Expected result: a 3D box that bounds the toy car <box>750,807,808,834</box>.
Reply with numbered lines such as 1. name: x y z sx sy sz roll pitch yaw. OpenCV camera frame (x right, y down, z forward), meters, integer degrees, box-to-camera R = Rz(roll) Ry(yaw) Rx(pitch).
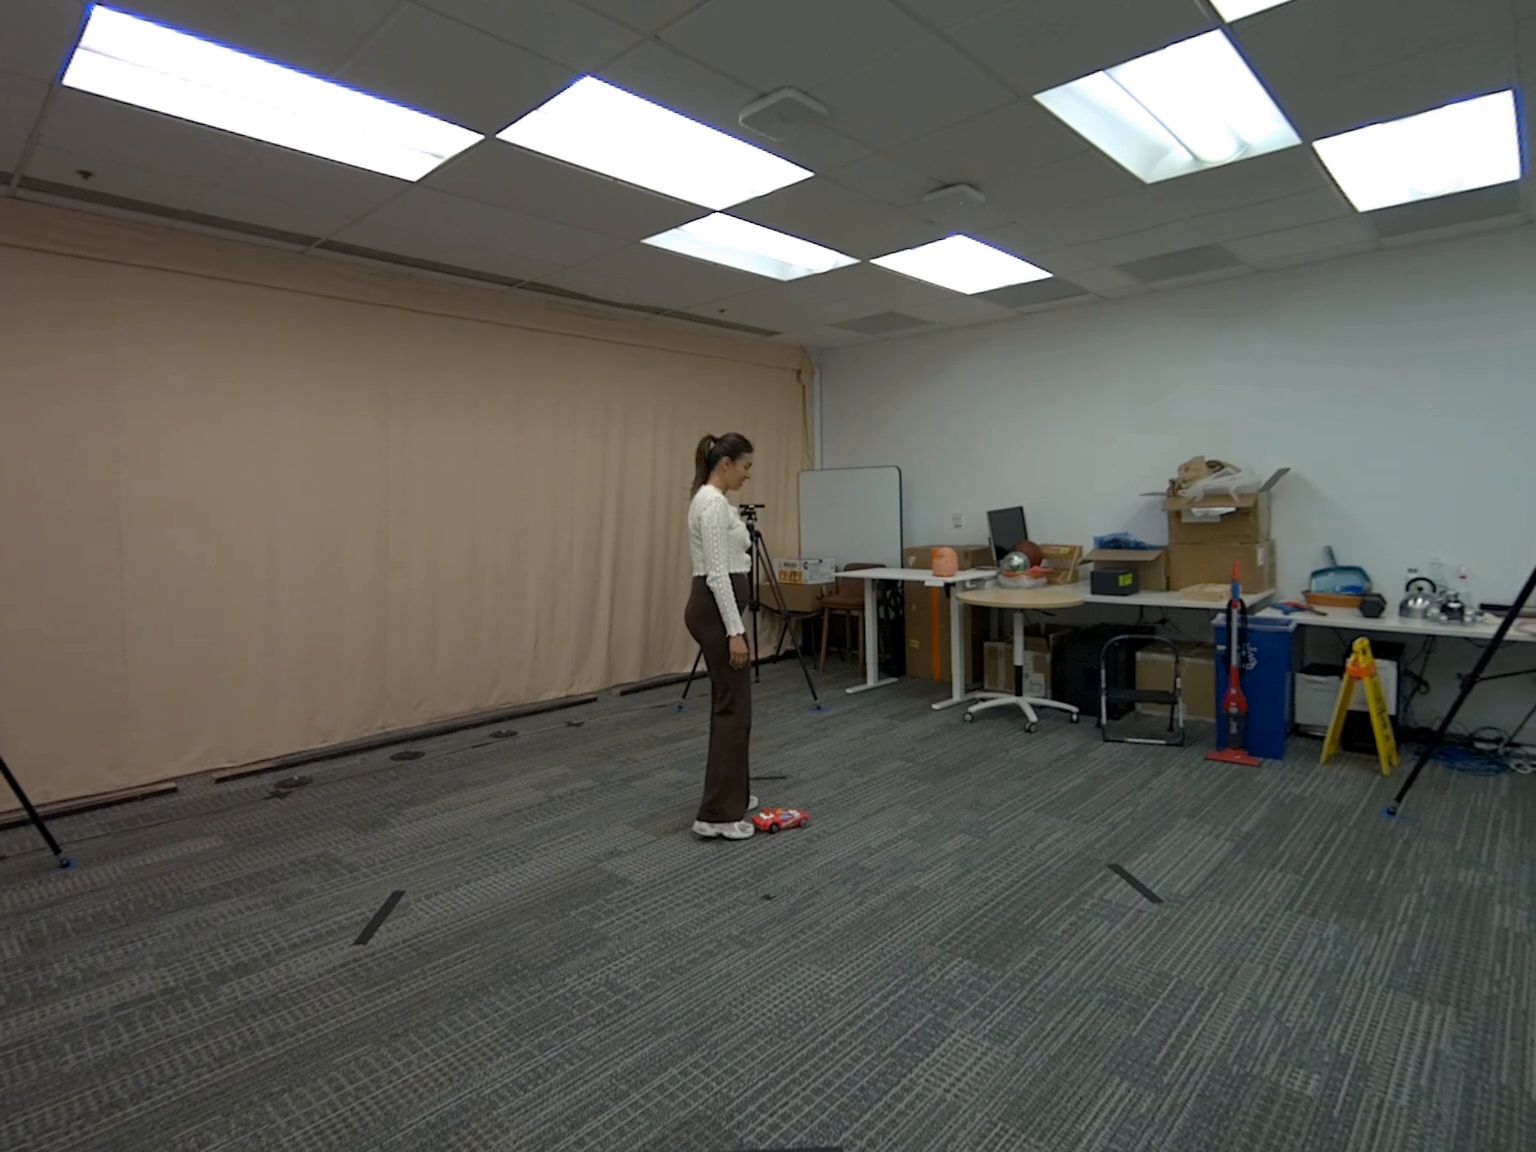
1. toy car: 0.047 1.054 3.624 0.248 0.083 0.134 9 -1 -26
